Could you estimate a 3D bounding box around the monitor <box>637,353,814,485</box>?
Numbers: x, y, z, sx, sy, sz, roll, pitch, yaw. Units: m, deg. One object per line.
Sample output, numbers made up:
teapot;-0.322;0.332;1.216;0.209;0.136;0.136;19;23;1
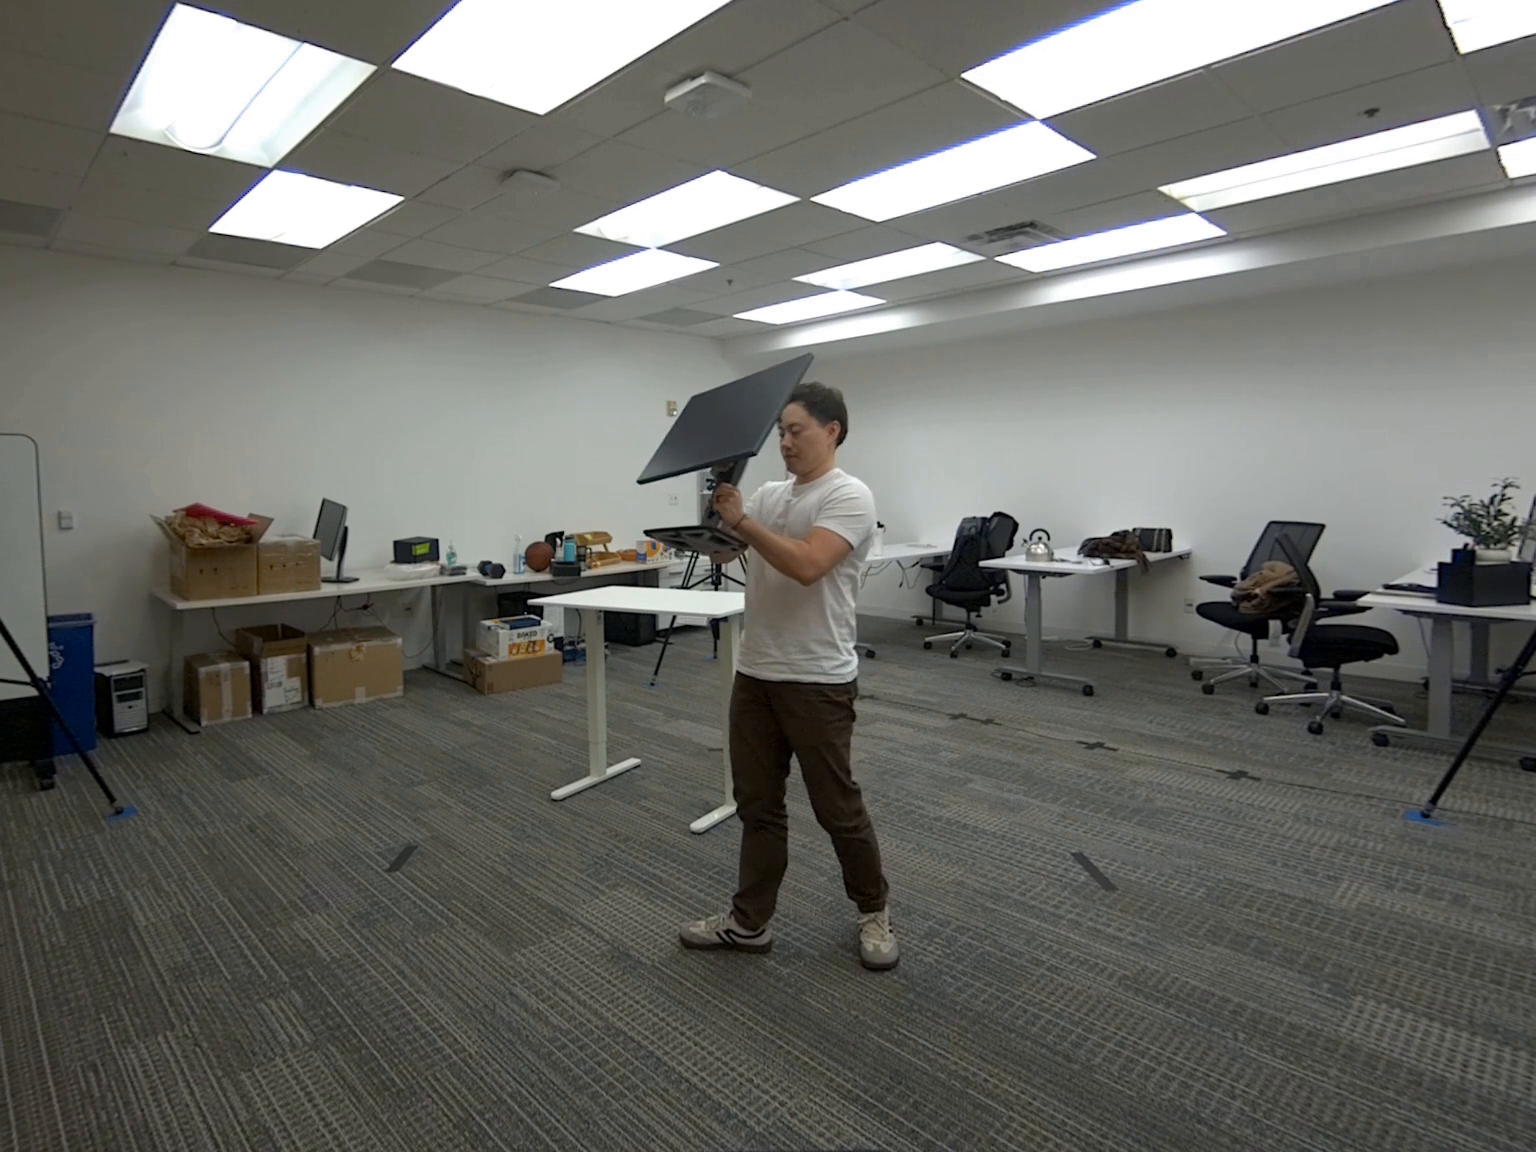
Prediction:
monitor;-0.132;-0.331;2.342;0.180;0.528;0.553;31;-23;-37
